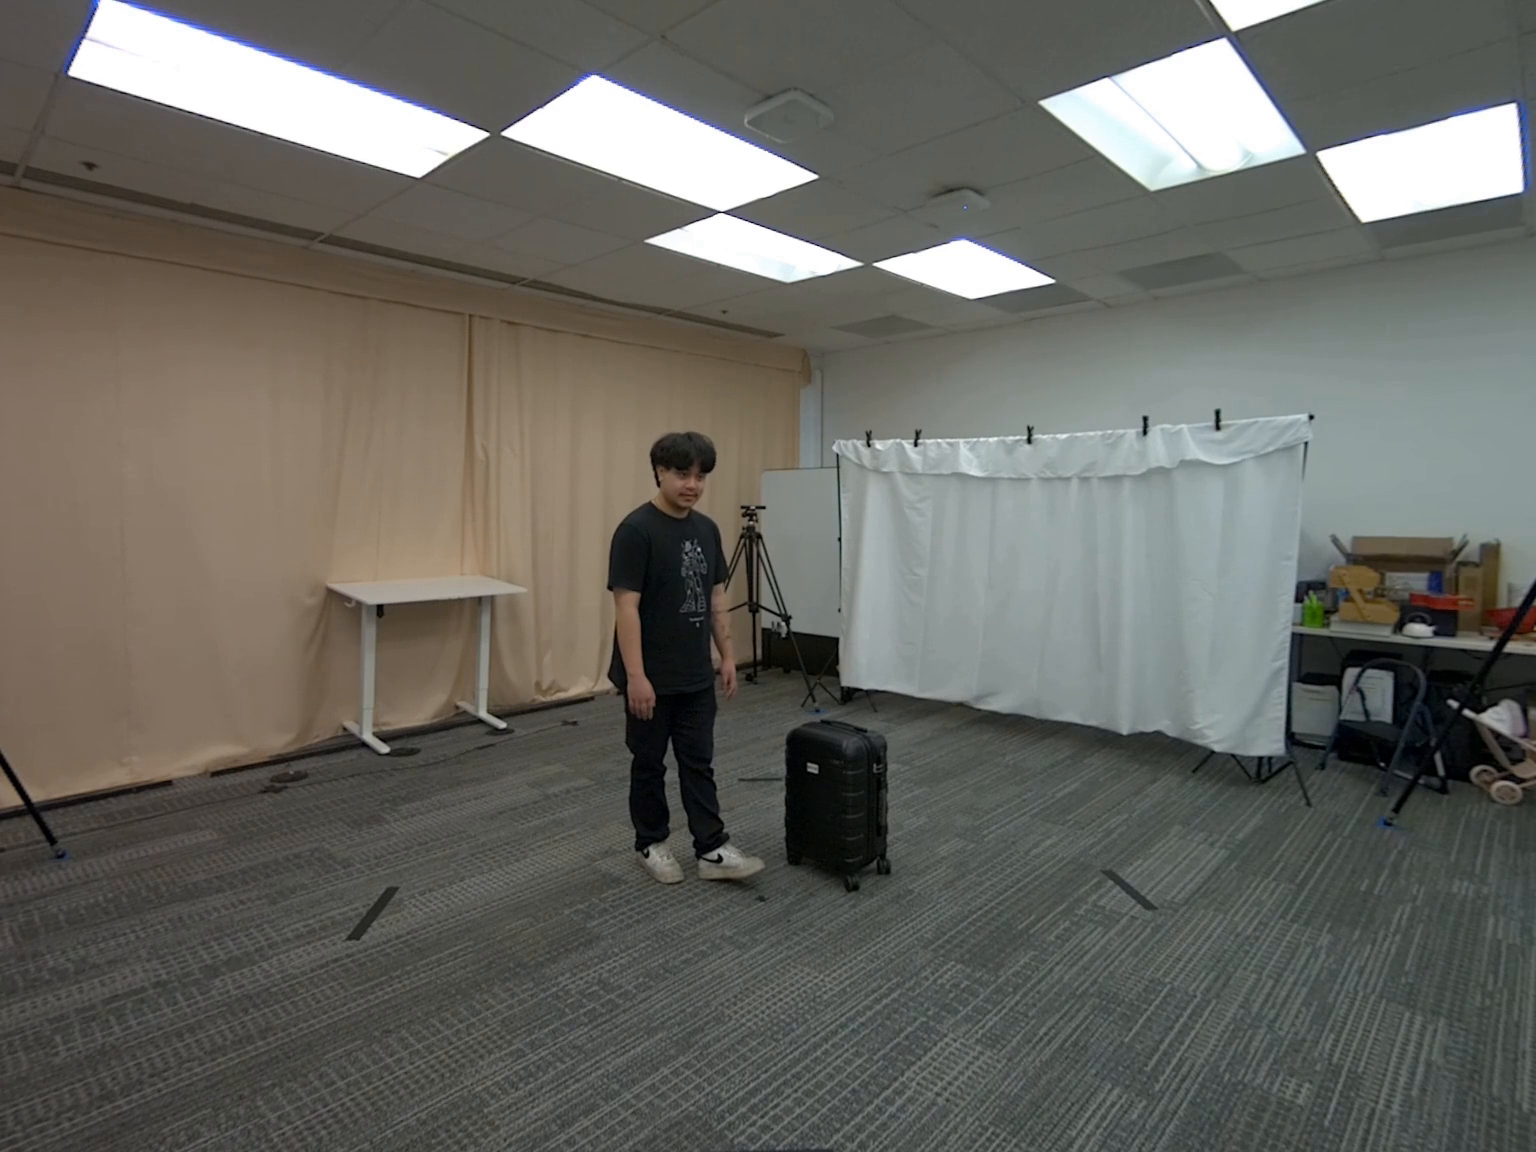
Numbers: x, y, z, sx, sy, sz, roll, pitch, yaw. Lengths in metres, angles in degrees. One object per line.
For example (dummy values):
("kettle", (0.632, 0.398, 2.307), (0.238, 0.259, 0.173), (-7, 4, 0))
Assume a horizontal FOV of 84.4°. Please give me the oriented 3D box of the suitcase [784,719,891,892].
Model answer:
("suitcase", (0.268, 0.847, 3.226), (0.240, 0.548, 0.388), (-3, 4, -44))
